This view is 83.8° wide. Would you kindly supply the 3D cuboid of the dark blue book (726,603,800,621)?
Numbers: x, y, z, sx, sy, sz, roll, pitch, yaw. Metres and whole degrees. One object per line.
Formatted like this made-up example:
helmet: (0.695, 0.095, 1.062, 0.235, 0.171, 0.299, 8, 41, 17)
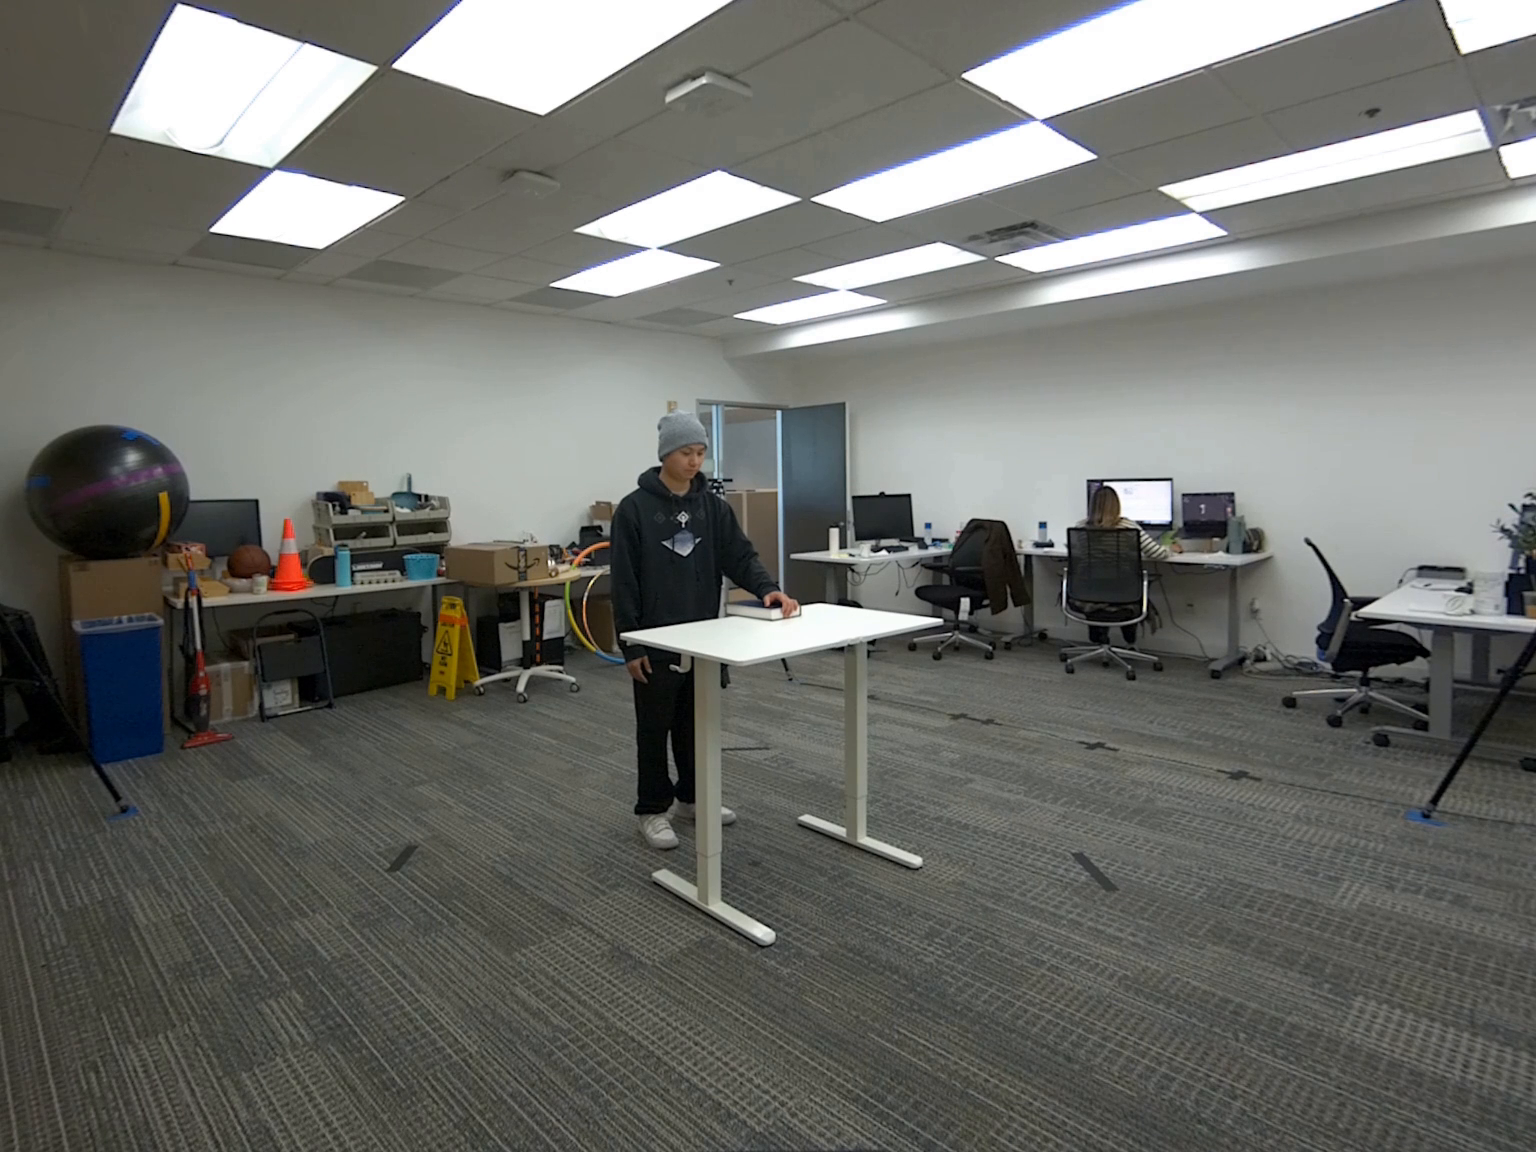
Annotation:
dark blue book: (-0.031, 0.127, 3.238, 0.253, 0.045, 0.159, 6, 8, 45)
